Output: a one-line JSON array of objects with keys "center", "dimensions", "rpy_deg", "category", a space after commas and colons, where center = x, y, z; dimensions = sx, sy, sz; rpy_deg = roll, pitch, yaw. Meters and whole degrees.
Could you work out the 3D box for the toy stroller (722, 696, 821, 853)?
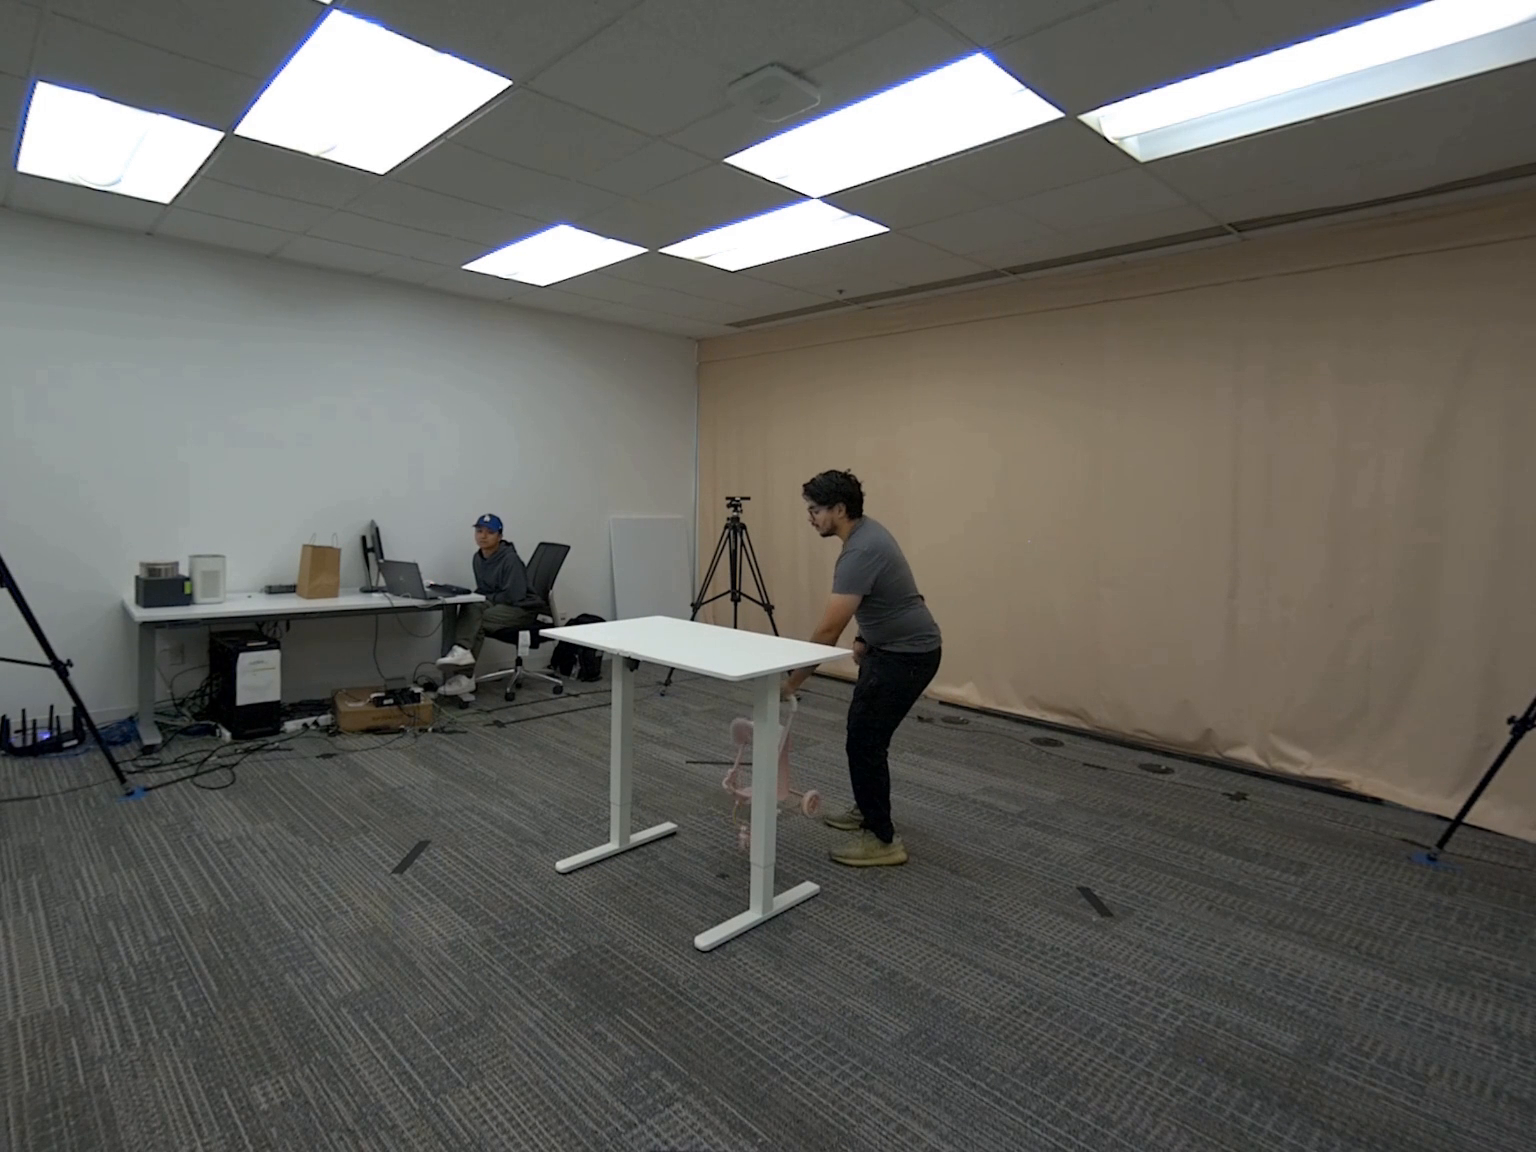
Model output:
[{"center": [-0.022, 0.748, 3.222], "dimensions": [0.336, 0.529, 0.289], "rpy_deg": [-19, 17, -36], "category": "toy stroller"}]
